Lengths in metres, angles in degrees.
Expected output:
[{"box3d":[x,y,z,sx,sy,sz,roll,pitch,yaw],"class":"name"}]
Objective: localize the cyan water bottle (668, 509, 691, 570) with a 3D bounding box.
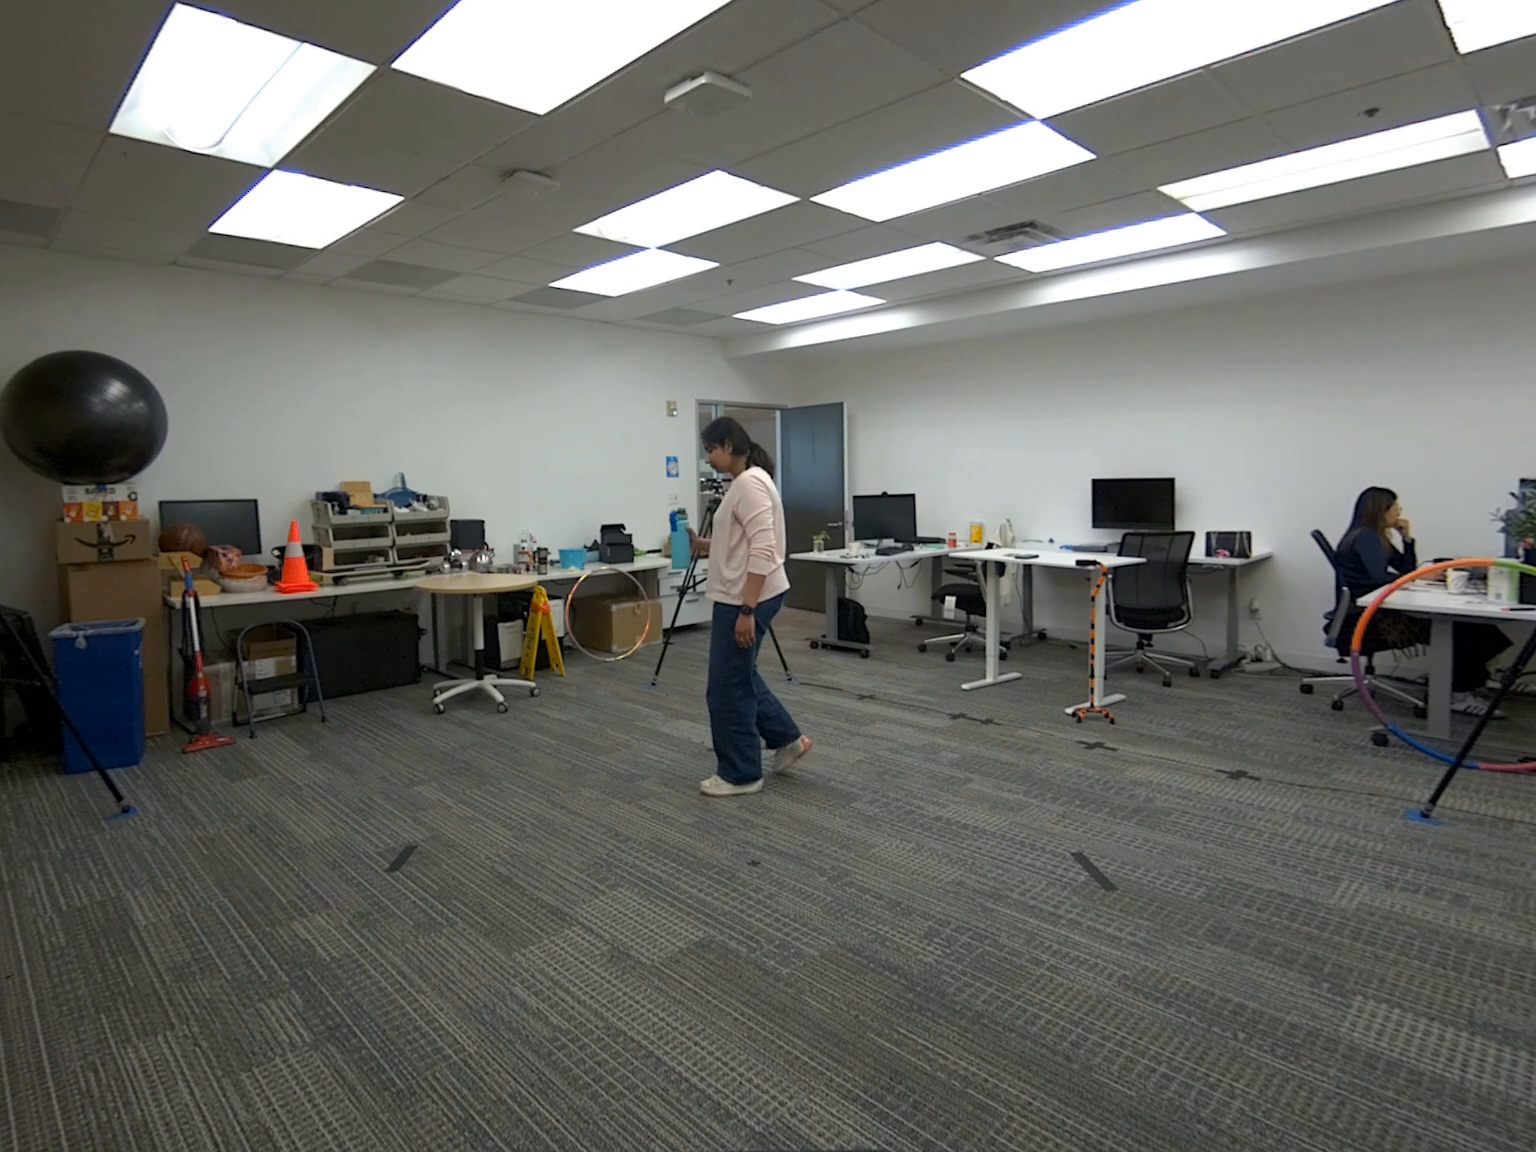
[{"box3d":[-0.406,-0.179,3.980,0.092,0.282,0.093,-3,6,-1],"class":"cyan water bottle"}]
